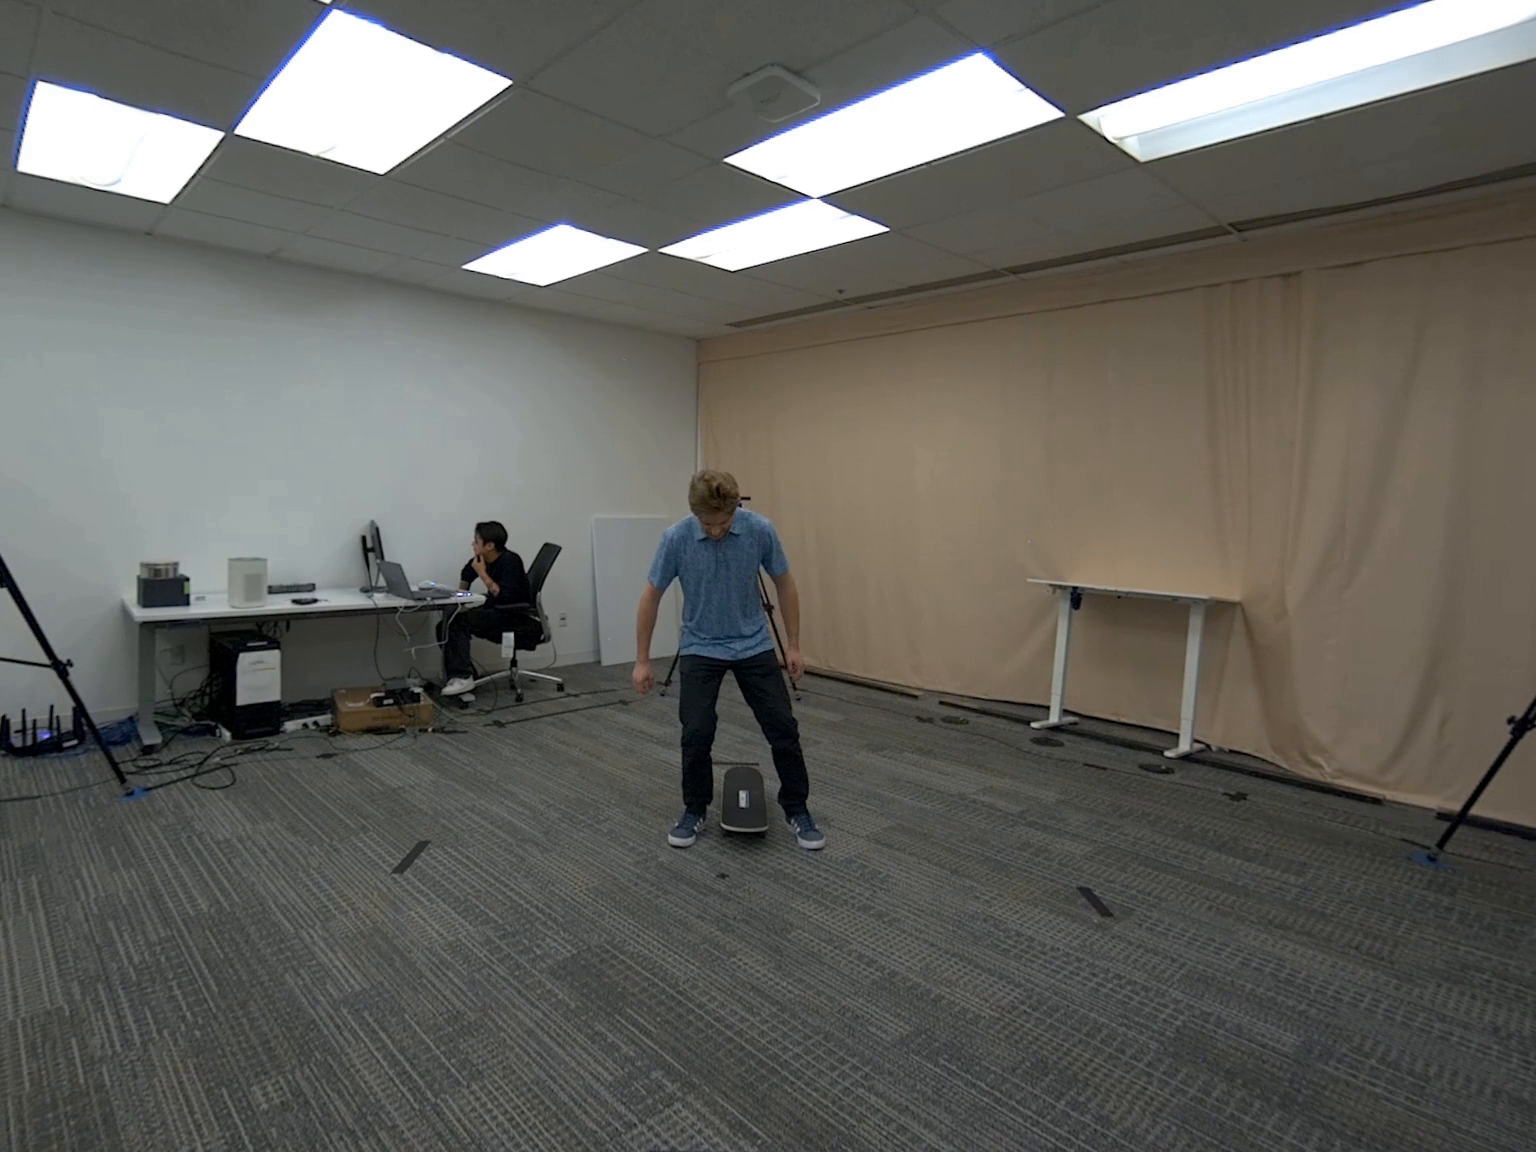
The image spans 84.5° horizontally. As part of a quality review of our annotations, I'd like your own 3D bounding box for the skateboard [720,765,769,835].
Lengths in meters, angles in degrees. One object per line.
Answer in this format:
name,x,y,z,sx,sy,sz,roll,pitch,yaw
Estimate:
skateboard,-0.114,1.002,3.679,0.193,0.110,0.788,1,5,-2
